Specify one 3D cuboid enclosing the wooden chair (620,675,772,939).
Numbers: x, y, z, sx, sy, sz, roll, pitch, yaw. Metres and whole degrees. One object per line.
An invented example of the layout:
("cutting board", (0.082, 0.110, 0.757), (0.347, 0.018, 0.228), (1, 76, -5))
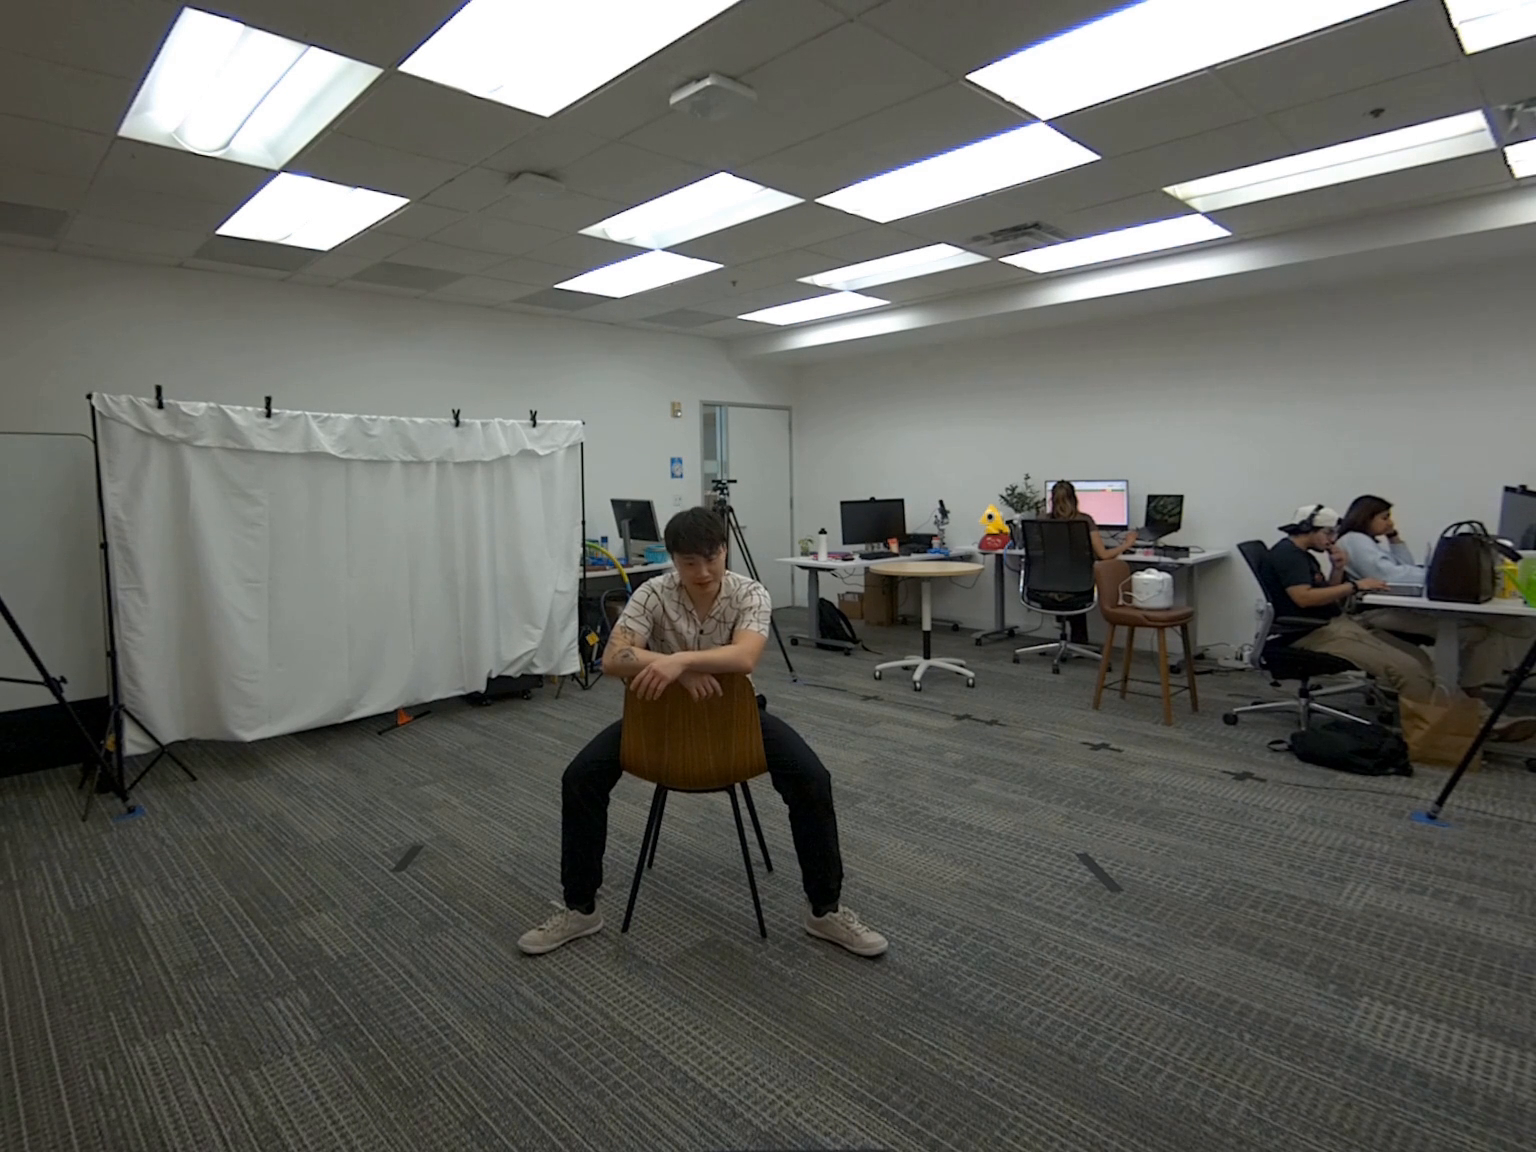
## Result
("wooden chair", (-0.225, 0.666, 2.831), (0.480, 0.870, 0.525), (-1, 9, 4))
